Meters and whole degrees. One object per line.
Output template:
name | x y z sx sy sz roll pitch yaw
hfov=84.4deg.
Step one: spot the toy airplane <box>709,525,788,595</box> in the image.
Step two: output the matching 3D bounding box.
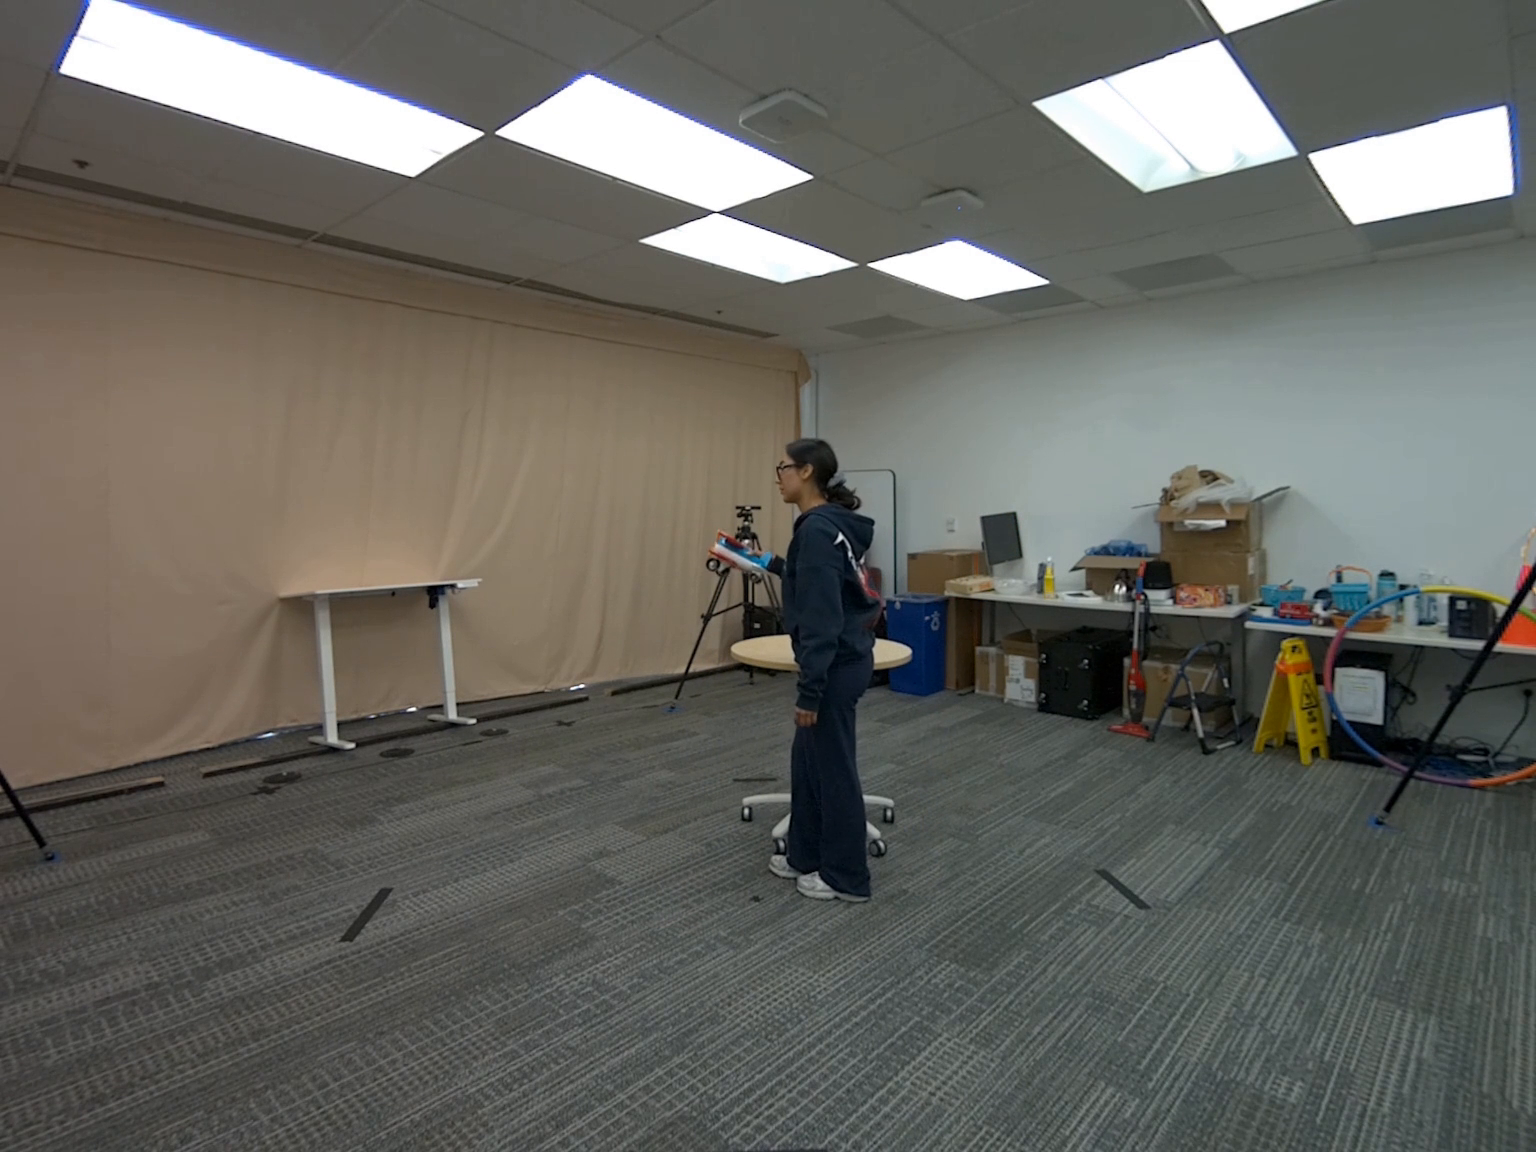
toy airplane | -0.080 -0.061 3.326 0.261 0.157 0.249 16 -11 3
